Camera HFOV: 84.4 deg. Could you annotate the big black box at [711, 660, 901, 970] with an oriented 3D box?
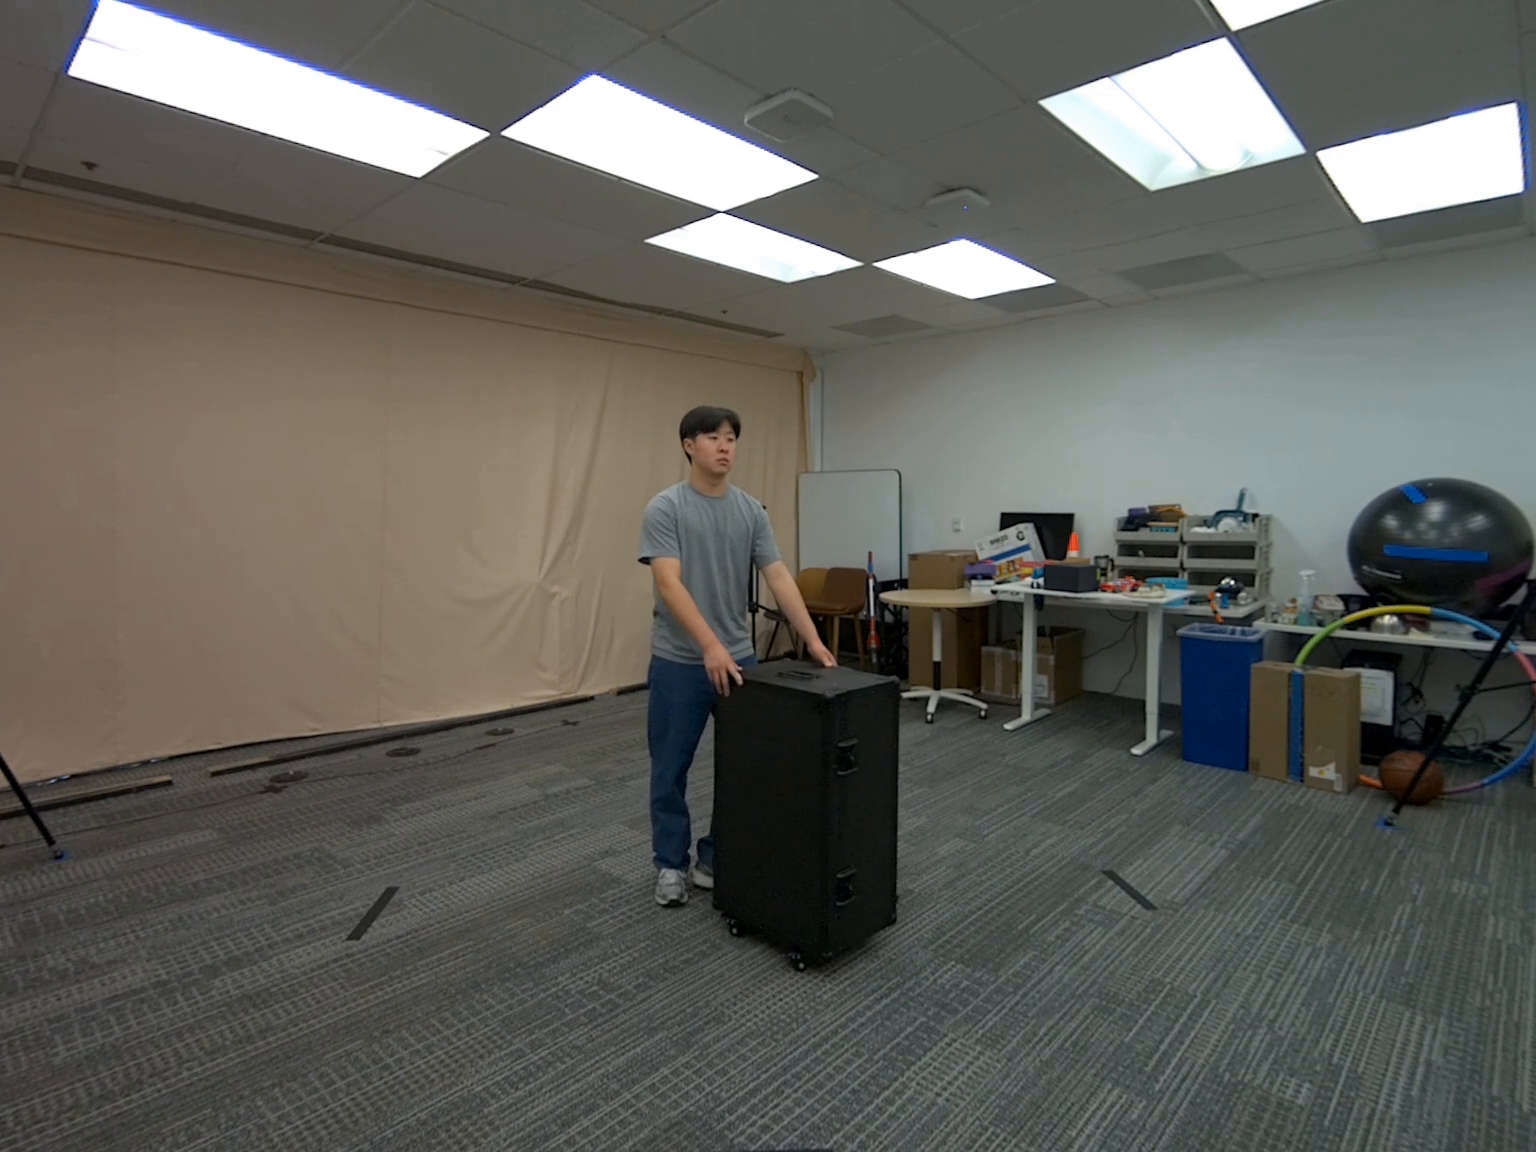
[{"bbox_3d":[0.127,0.744,2.711,0.539,0.860,0.384,3,3,44],"label":"big black box"}]
